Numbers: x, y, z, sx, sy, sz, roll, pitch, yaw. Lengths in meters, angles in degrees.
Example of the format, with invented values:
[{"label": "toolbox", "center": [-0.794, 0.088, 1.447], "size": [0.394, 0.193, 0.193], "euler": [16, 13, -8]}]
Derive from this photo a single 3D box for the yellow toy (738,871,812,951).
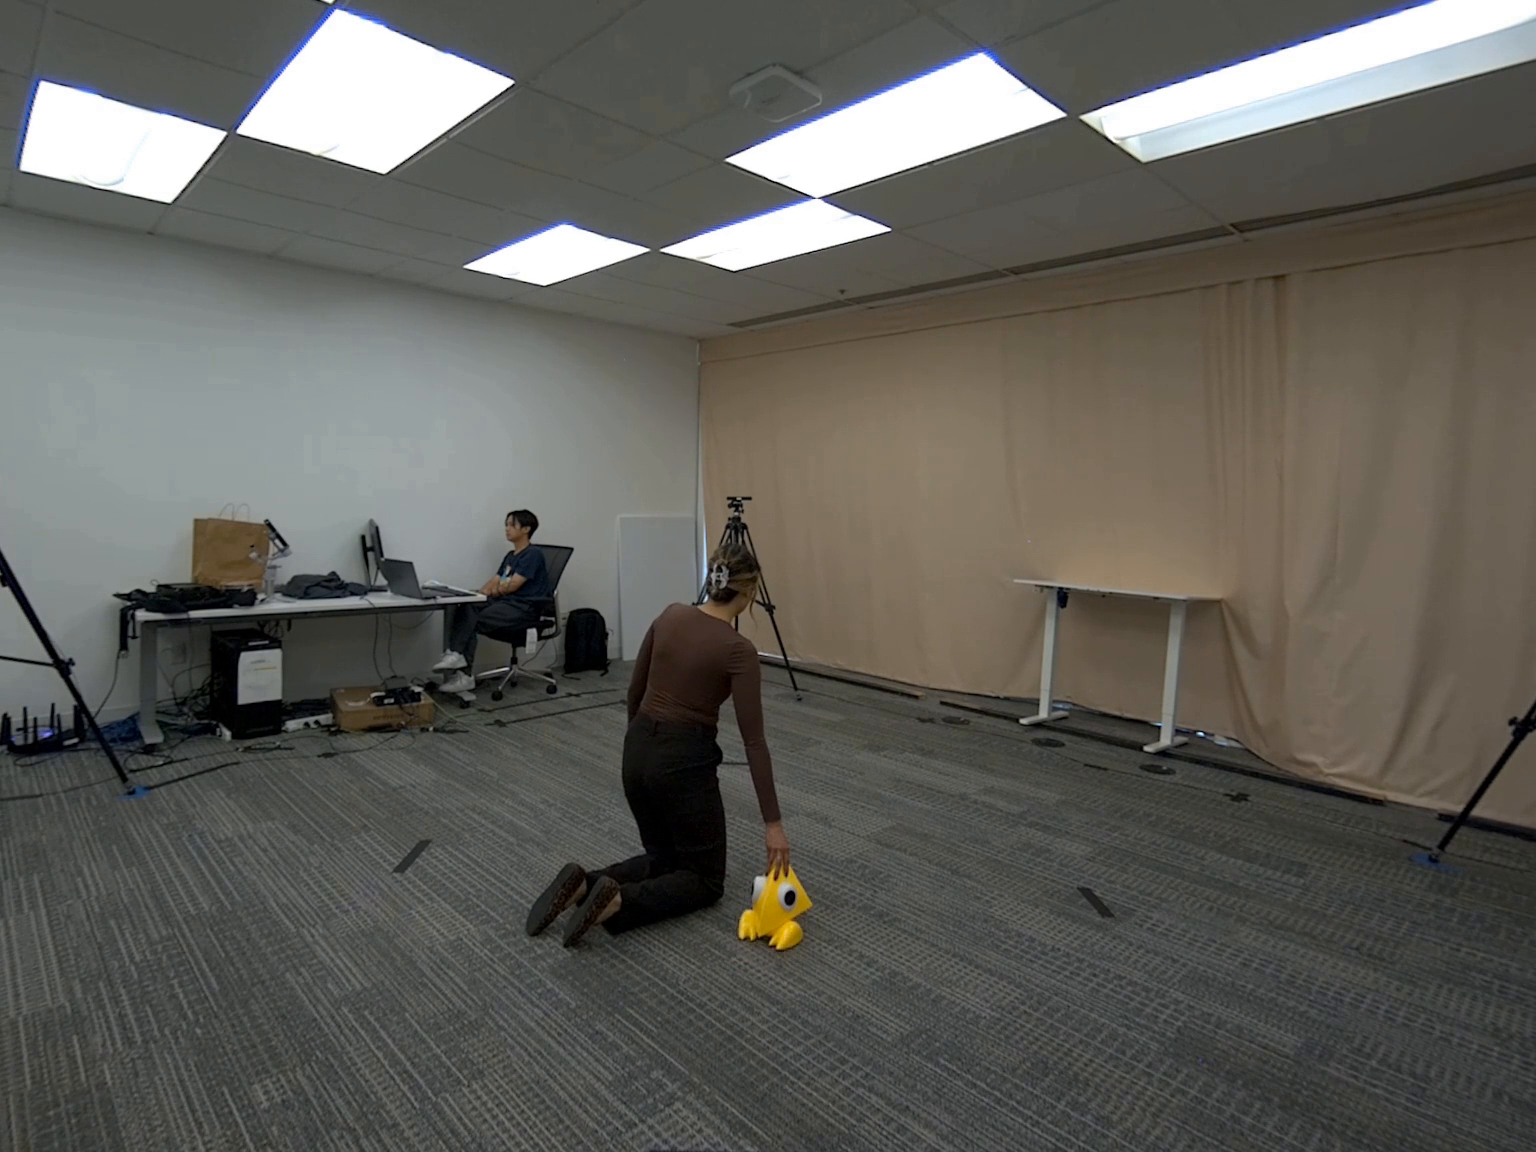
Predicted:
[{"label": "yellow toy", "center": [0.011, 1.032, 2.690], "size": [0.209, 0.230, 0.189], "euler": [3, 1, 26]}]
